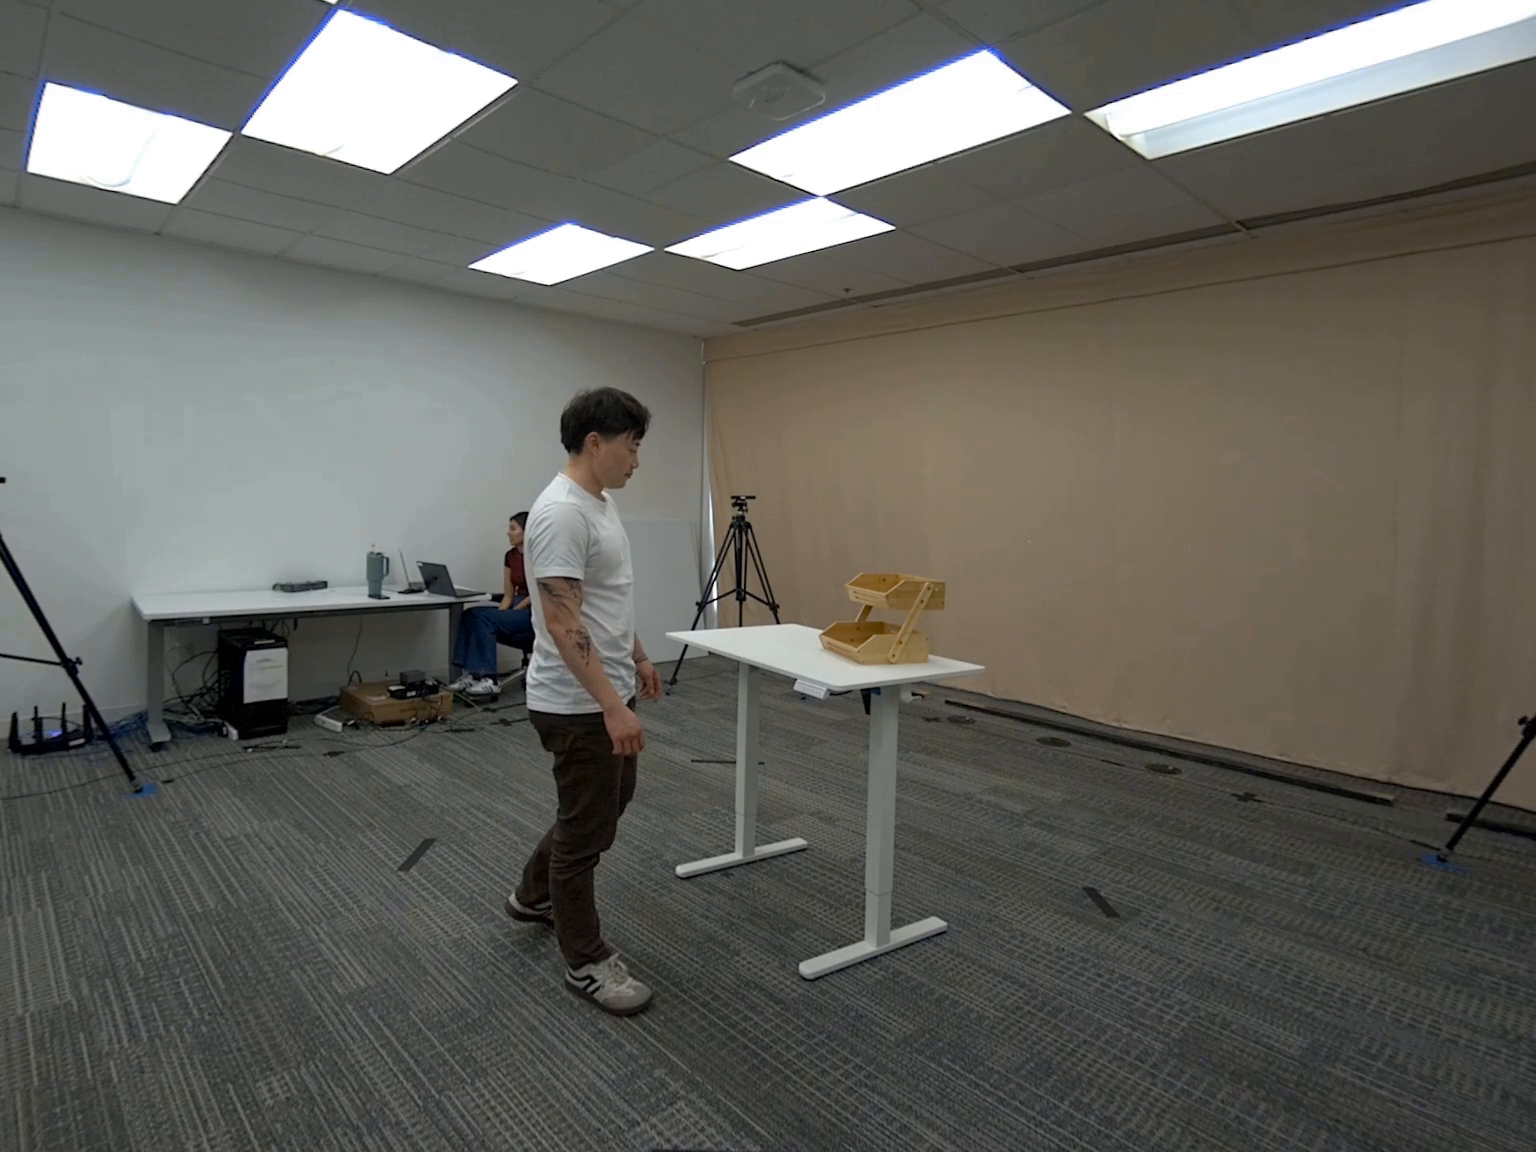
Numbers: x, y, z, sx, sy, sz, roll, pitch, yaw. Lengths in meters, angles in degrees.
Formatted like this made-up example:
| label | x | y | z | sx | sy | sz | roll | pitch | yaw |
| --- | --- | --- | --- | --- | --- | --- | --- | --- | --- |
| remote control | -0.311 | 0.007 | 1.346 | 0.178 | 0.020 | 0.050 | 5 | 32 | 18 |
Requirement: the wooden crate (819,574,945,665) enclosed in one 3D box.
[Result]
| label | x | y | z | sx | sy | sz | roll | pitch | yaw |
| --- | --- | --- | --- | --- | --- | --- | --- | --- | --- |
| wooden crate | 0.360 | 0.133 | 2.763 | 0.298 | 0.272 | 0.330 | 1 | 4 | -19 |
